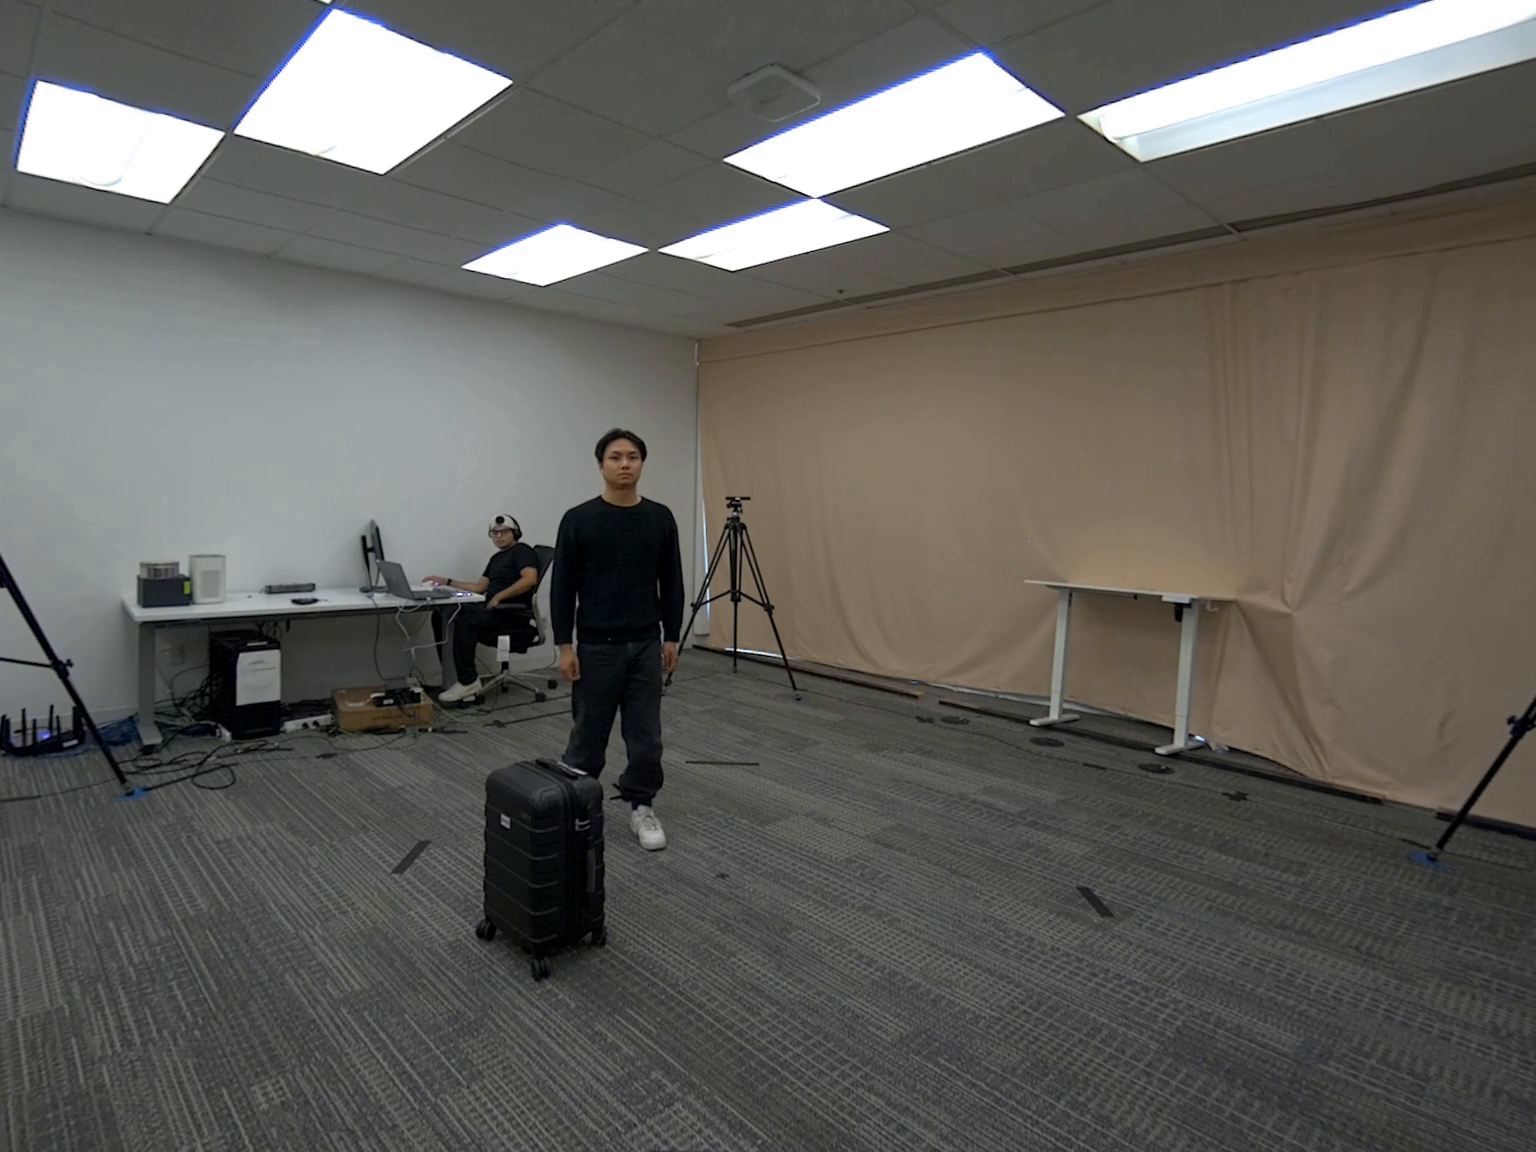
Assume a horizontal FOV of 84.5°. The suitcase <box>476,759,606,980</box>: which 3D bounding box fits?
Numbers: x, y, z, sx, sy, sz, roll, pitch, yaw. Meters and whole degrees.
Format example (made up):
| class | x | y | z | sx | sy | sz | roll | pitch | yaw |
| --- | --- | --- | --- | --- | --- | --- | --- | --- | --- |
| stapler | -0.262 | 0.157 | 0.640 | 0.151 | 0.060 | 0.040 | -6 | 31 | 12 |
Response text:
| class | x | y | z | sx | sy | sz | roll | pitch | yaw |
| --- | --- | --- | --- | --- | --- | --- | --- | --- | --- |
| suitcase | -0.706 | 0.869 | 2.600 | 0.242 | 0.548 | 0.385 | -2 | 5 | -45 |
